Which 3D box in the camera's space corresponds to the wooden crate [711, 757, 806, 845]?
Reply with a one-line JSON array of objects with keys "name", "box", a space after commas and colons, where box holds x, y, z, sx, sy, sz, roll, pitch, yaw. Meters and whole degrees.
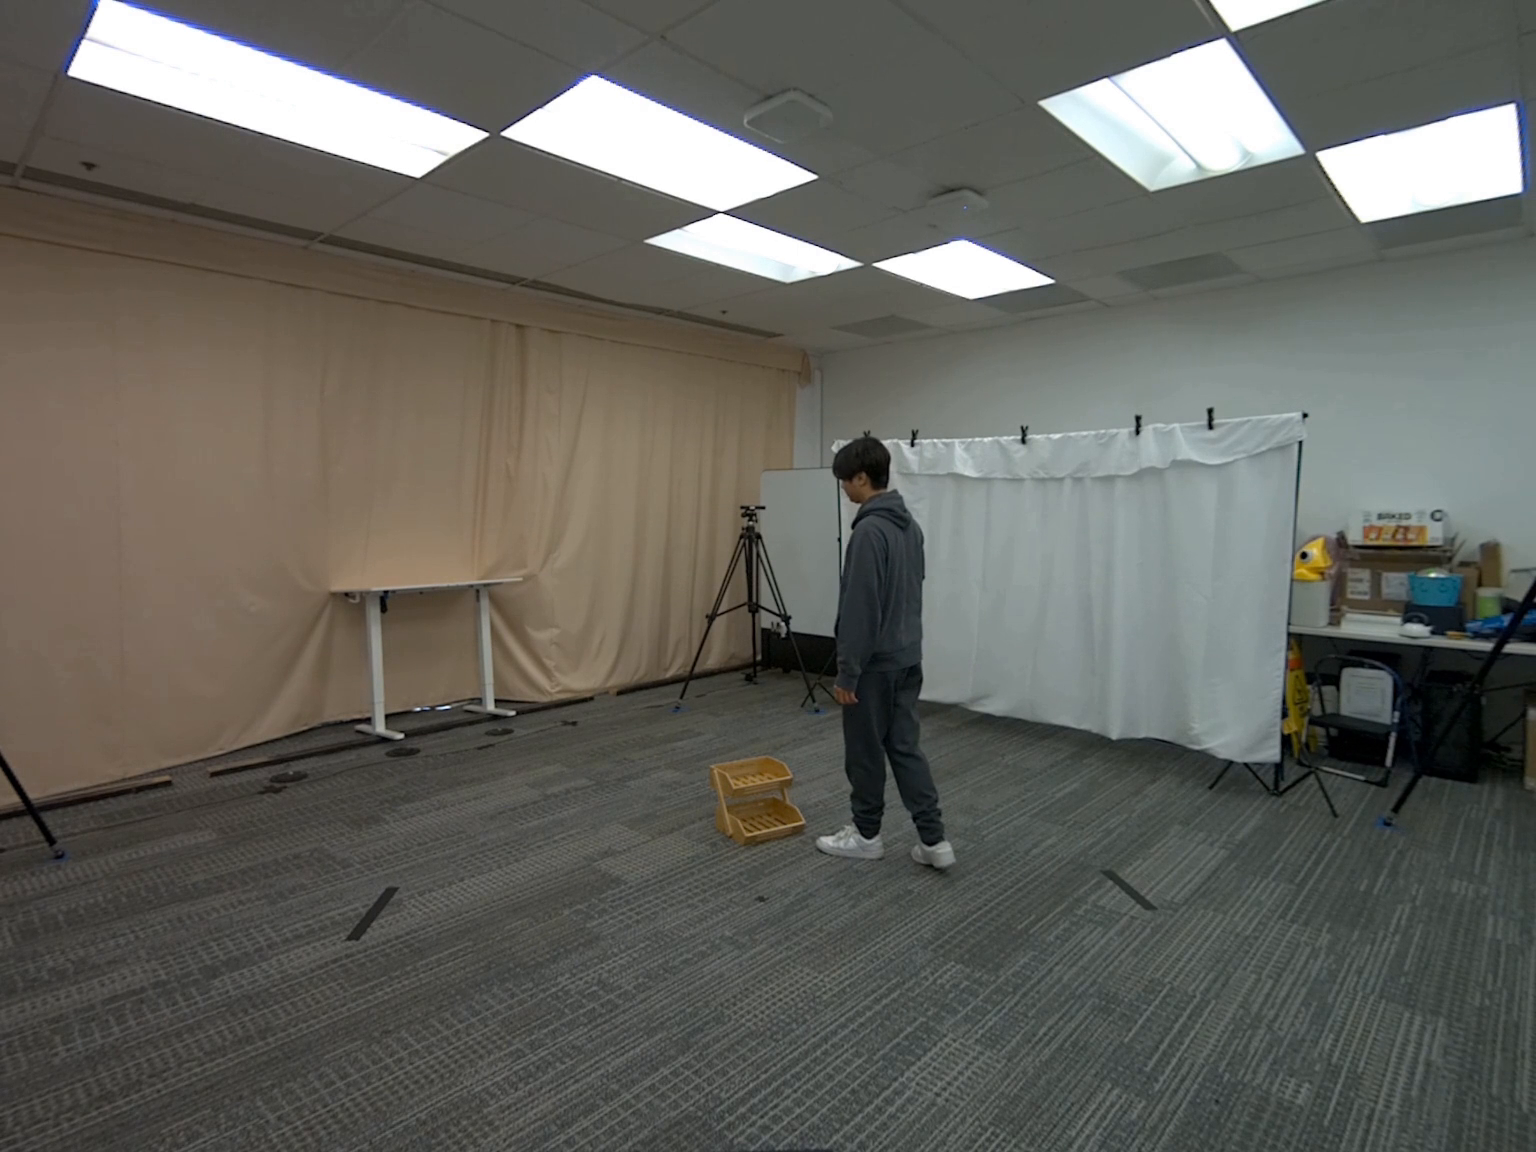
[{"name": "wooden crate", "box": [-0.044, 0.956, 3.631, 0.315, 0.273, 0.311, -2, 3, -31]}]
